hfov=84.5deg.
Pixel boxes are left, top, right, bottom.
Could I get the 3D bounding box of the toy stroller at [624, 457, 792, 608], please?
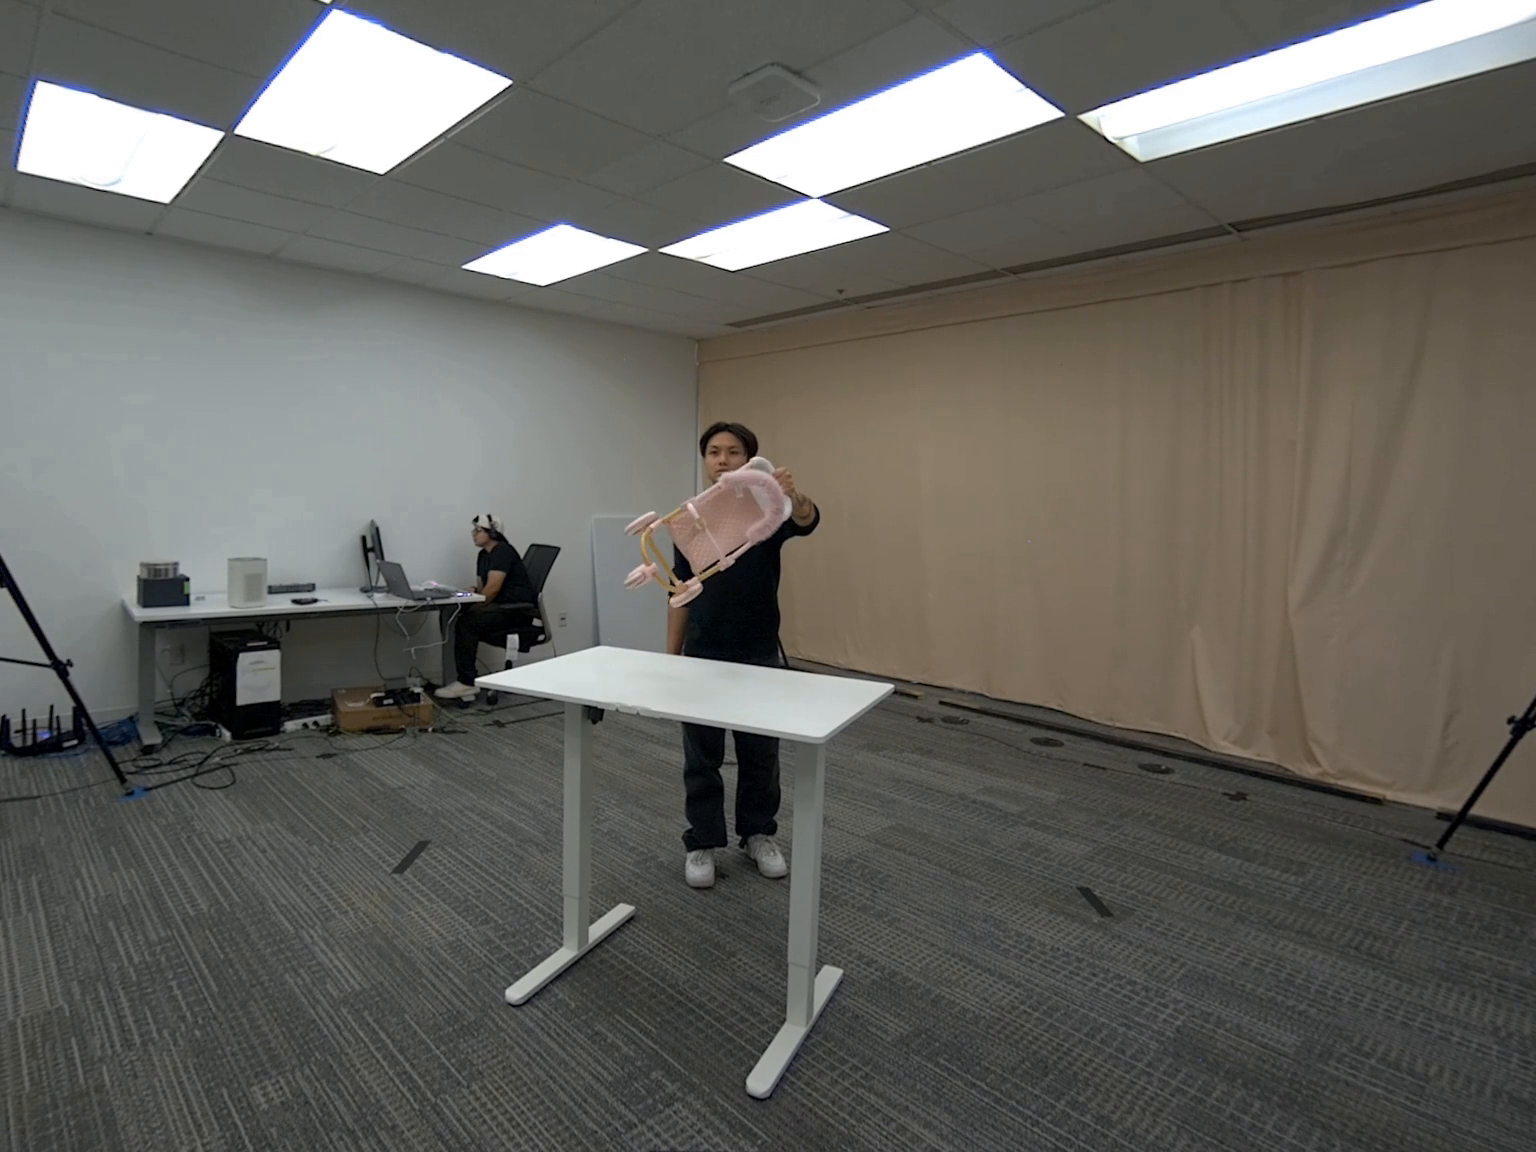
[{"bbox_3d":[-0.175,-0.126,2.370,0.535,0.281,0.342,-33,3,-1],"label":"toy stroller"}]
